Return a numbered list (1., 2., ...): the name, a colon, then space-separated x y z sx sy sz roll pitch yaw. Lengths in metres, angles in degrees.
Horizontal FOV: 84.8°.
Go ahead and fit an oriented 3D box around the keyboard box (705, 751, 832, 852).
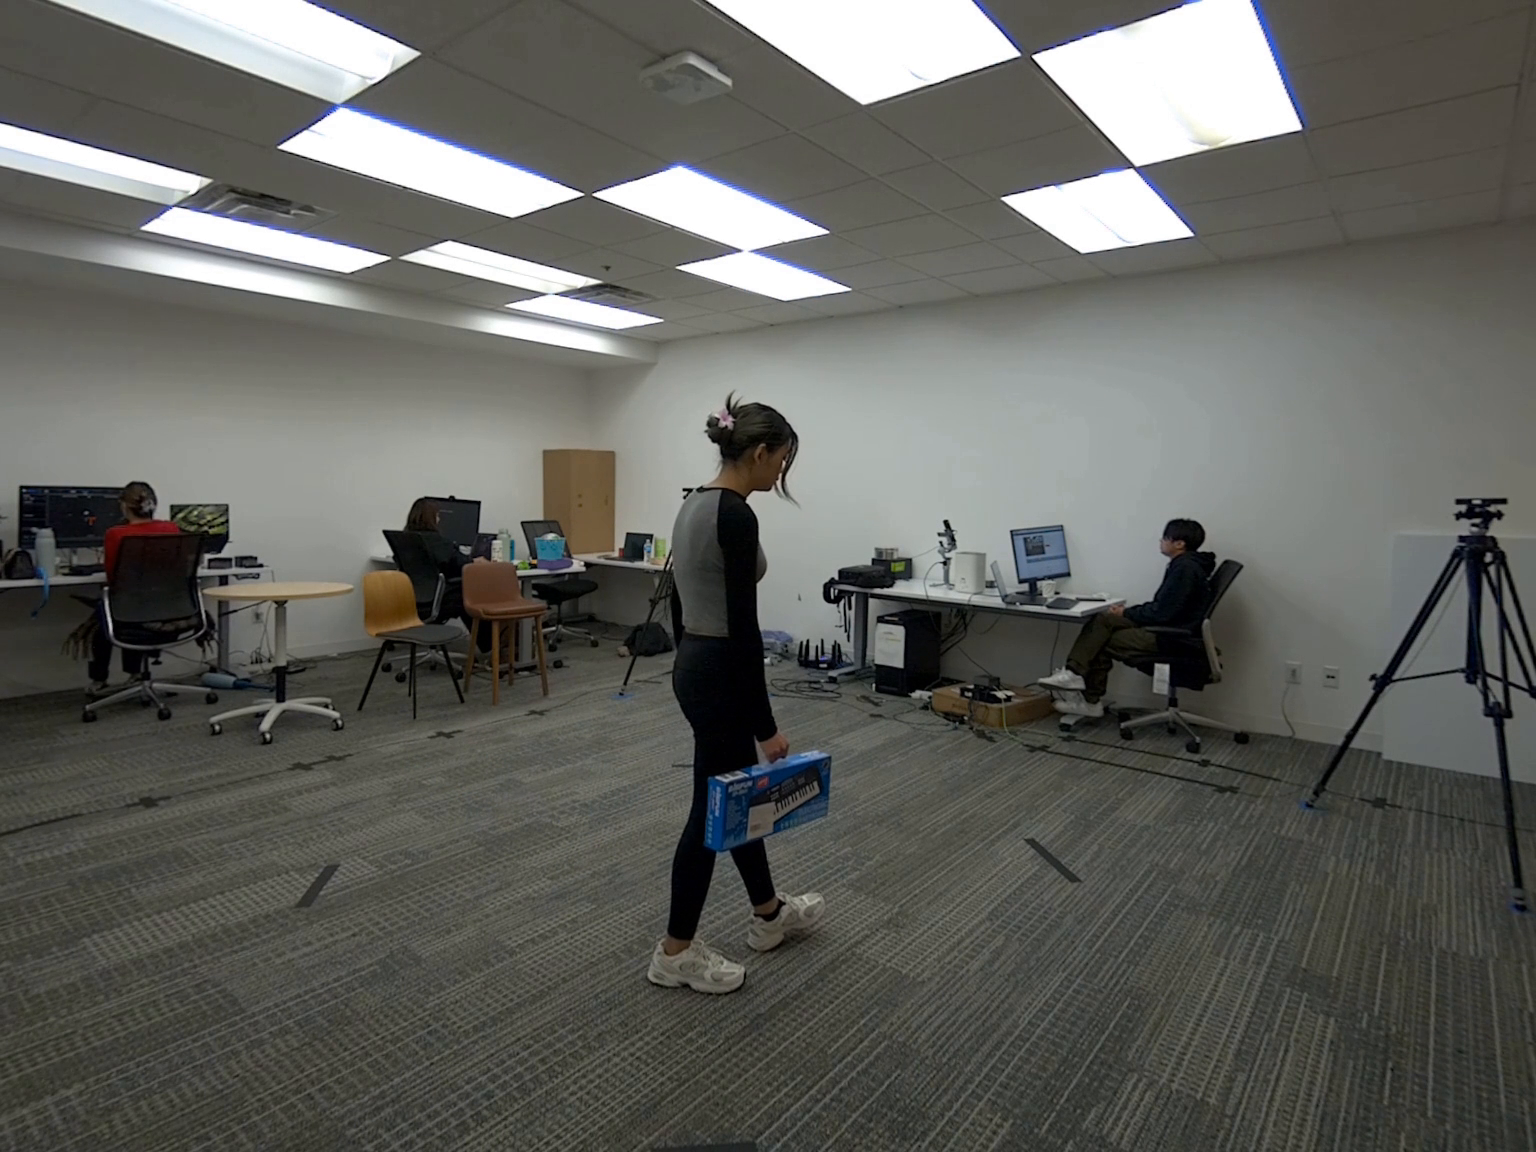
1. keyboard box: 0.001 0.584 2.246 0.061 0.176 0.423 3 2 44
